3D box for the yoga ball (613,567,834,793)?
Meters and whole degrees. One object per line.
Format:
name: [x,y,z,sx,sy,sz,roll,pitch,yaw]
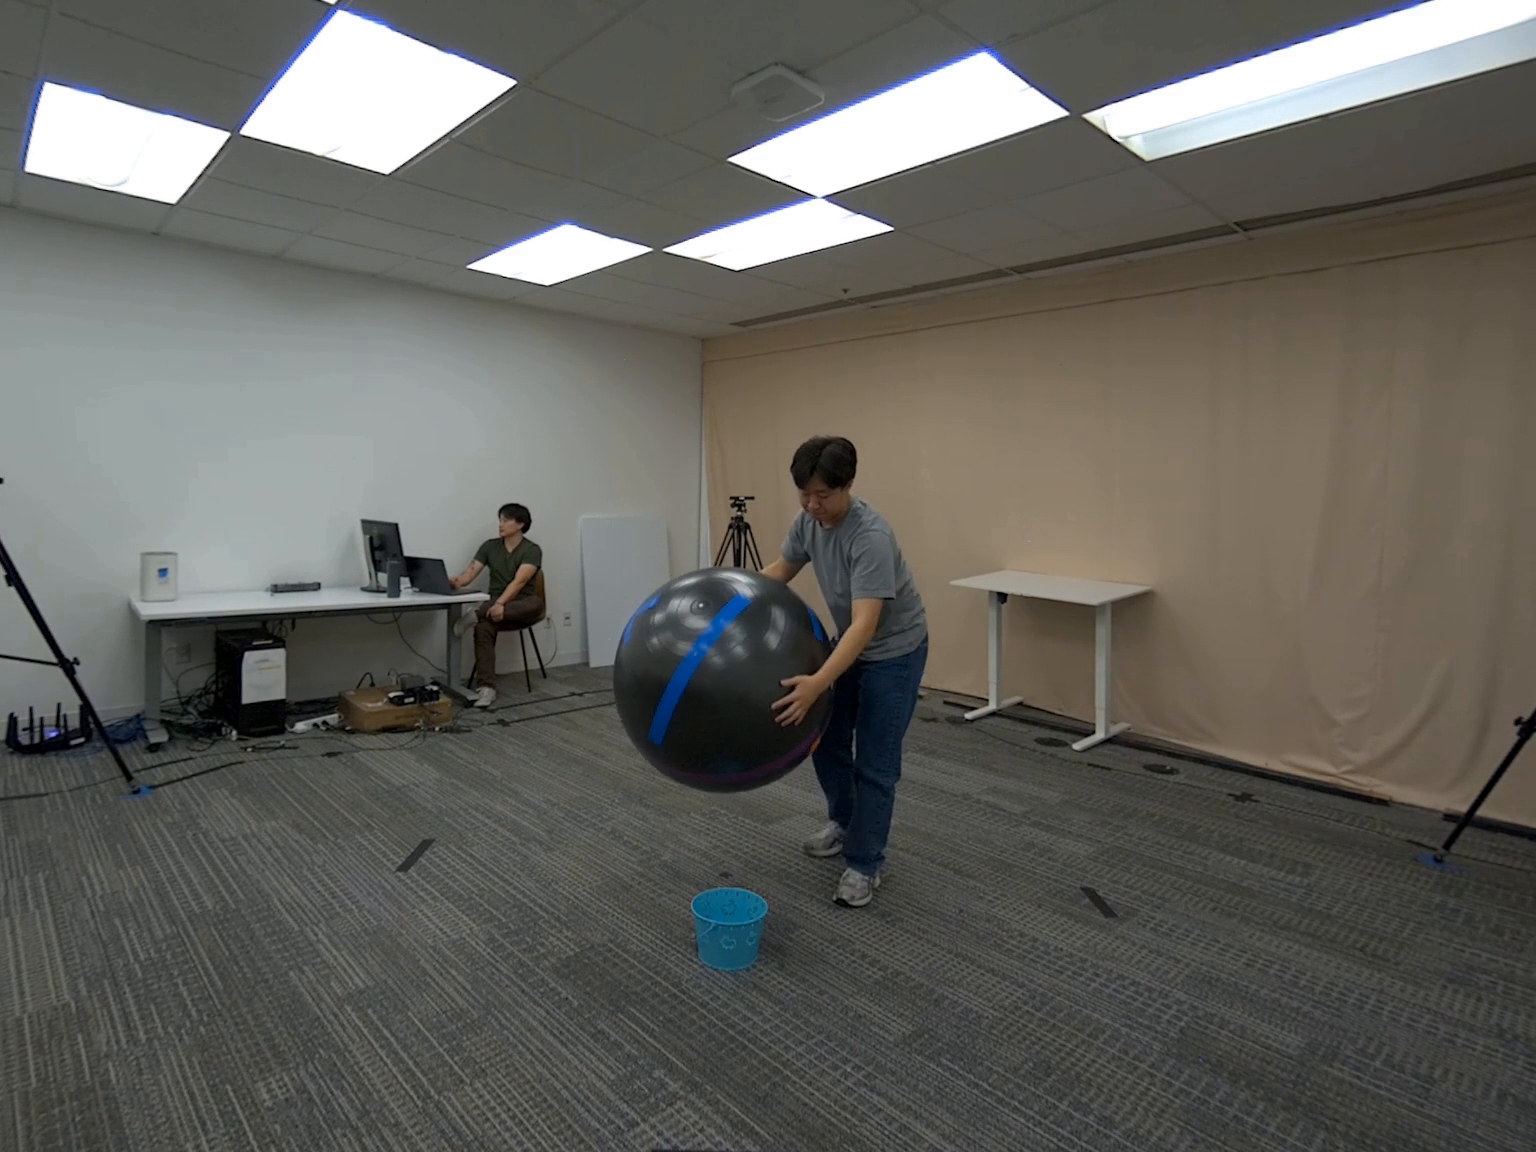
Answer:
yoga ball: [-0.149,0.361,2.875,0.757,0.756,0.761,1,4,-1]
